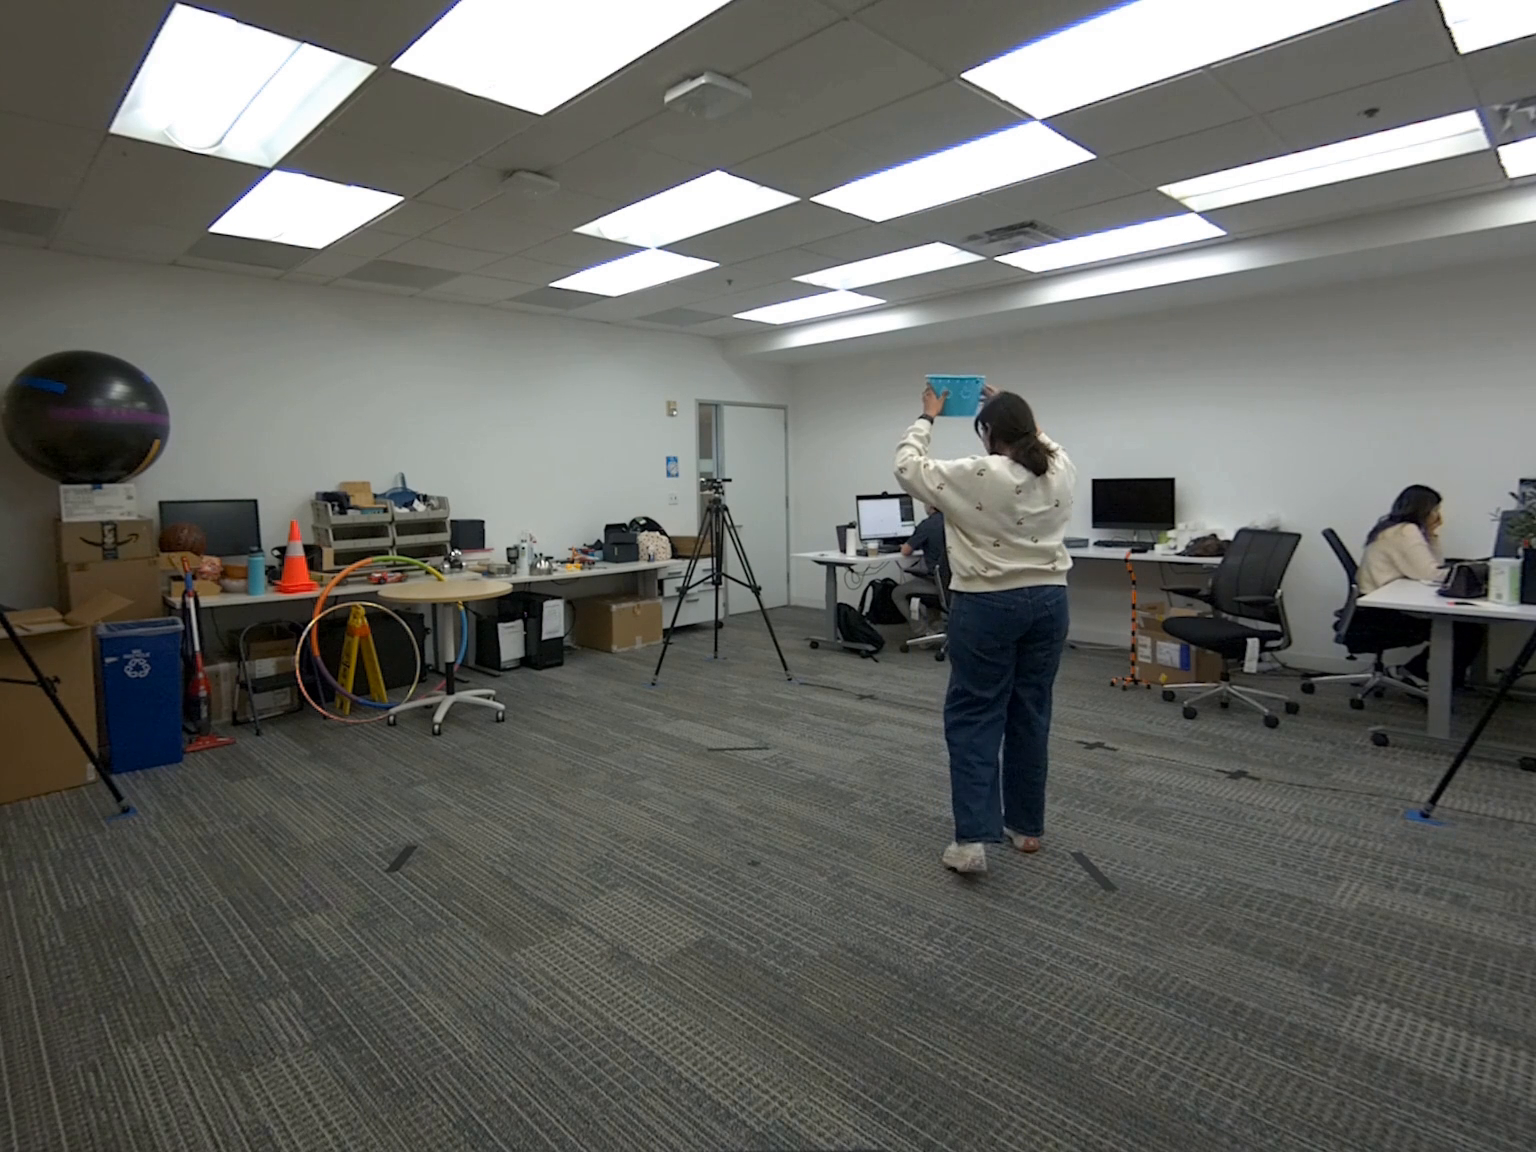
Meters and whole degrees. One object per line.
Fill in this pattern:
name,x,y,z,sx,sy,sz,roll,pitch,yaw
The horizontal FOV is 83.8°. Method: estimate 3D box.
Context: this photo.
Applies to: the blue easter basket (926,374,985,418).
blue easter basket,0.742,-0.715,3.377,0.243,0.154,0.247,1,14,-2
